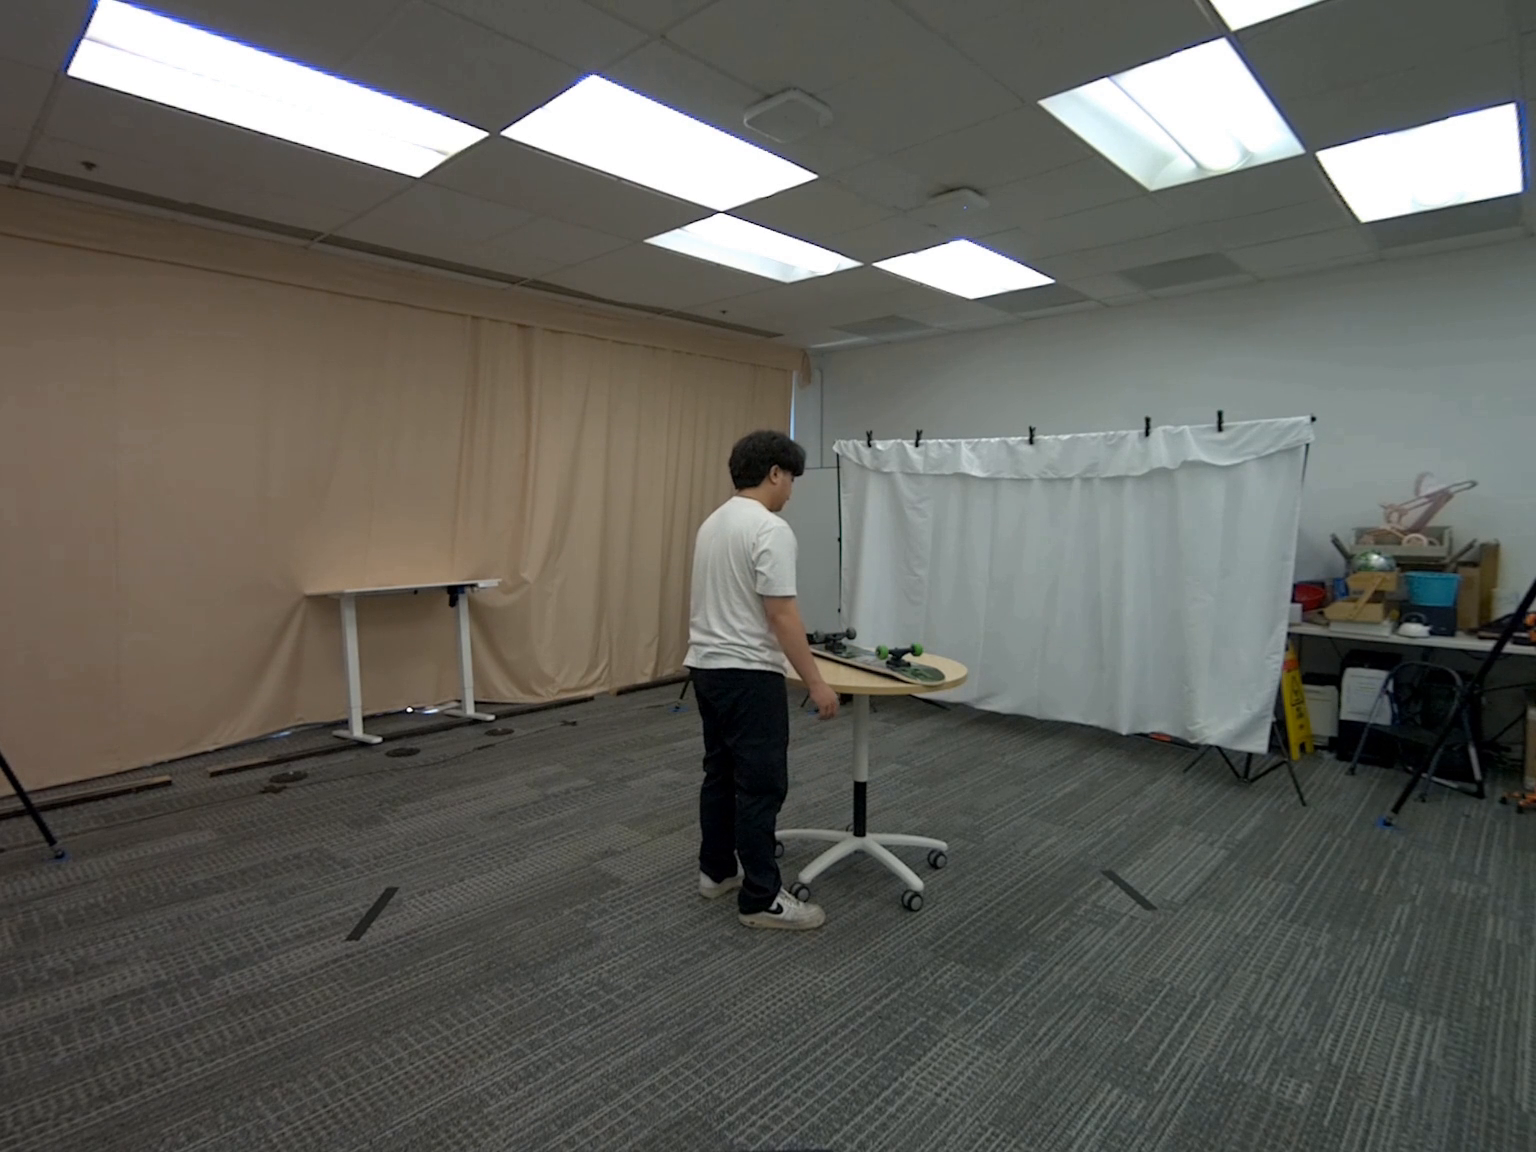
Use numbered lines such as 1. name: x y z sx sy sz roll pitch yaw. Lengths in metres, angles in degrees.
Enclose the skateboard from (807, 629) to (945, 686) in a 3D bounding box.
1. skateboard: 0.375 0.286 3.166 0.188 0.110 0.808 -2 5 -30
